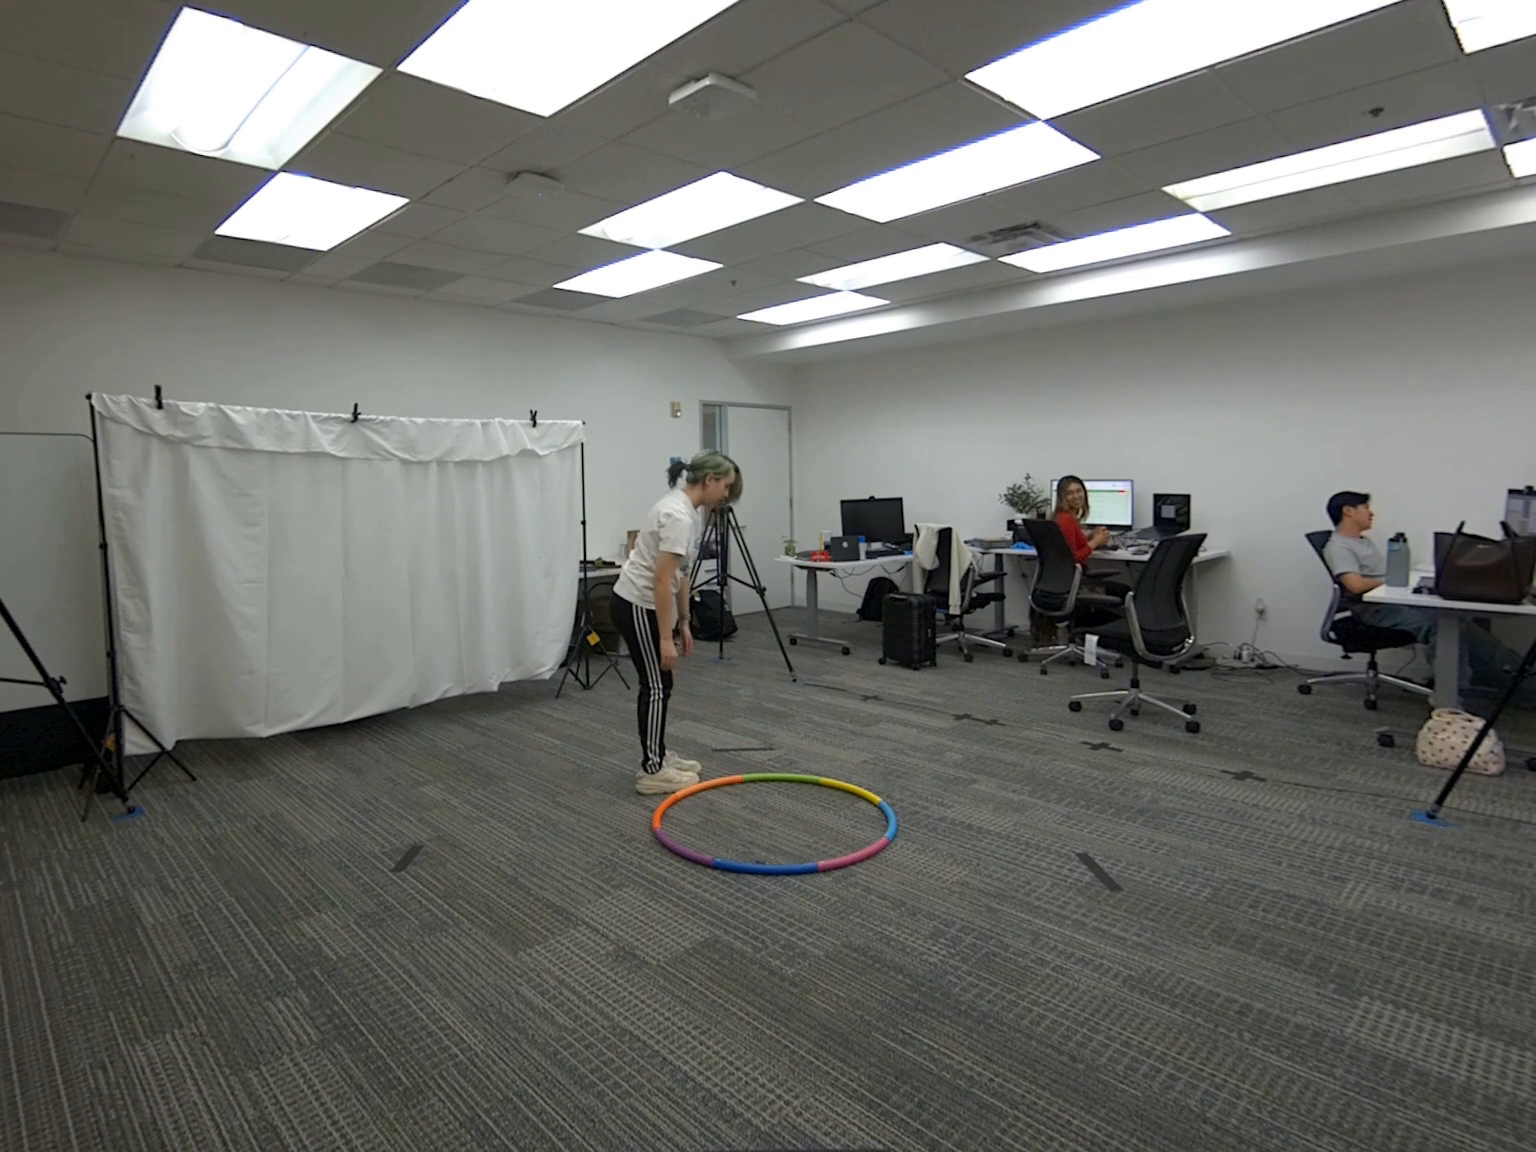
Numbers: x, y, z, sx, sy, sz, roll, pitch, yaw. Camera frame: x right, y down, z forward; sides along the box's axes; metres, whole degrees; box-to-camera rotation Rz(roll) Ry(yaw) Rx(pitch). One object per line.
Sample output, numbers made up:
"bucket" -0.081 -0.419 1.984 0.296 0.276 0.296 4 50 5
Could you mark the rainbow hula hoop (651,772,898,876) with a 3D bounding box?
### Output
"rainbow hula hoop" 0.022 0.974 3.488 0.978 0.035 0.984 -1 7 -2
